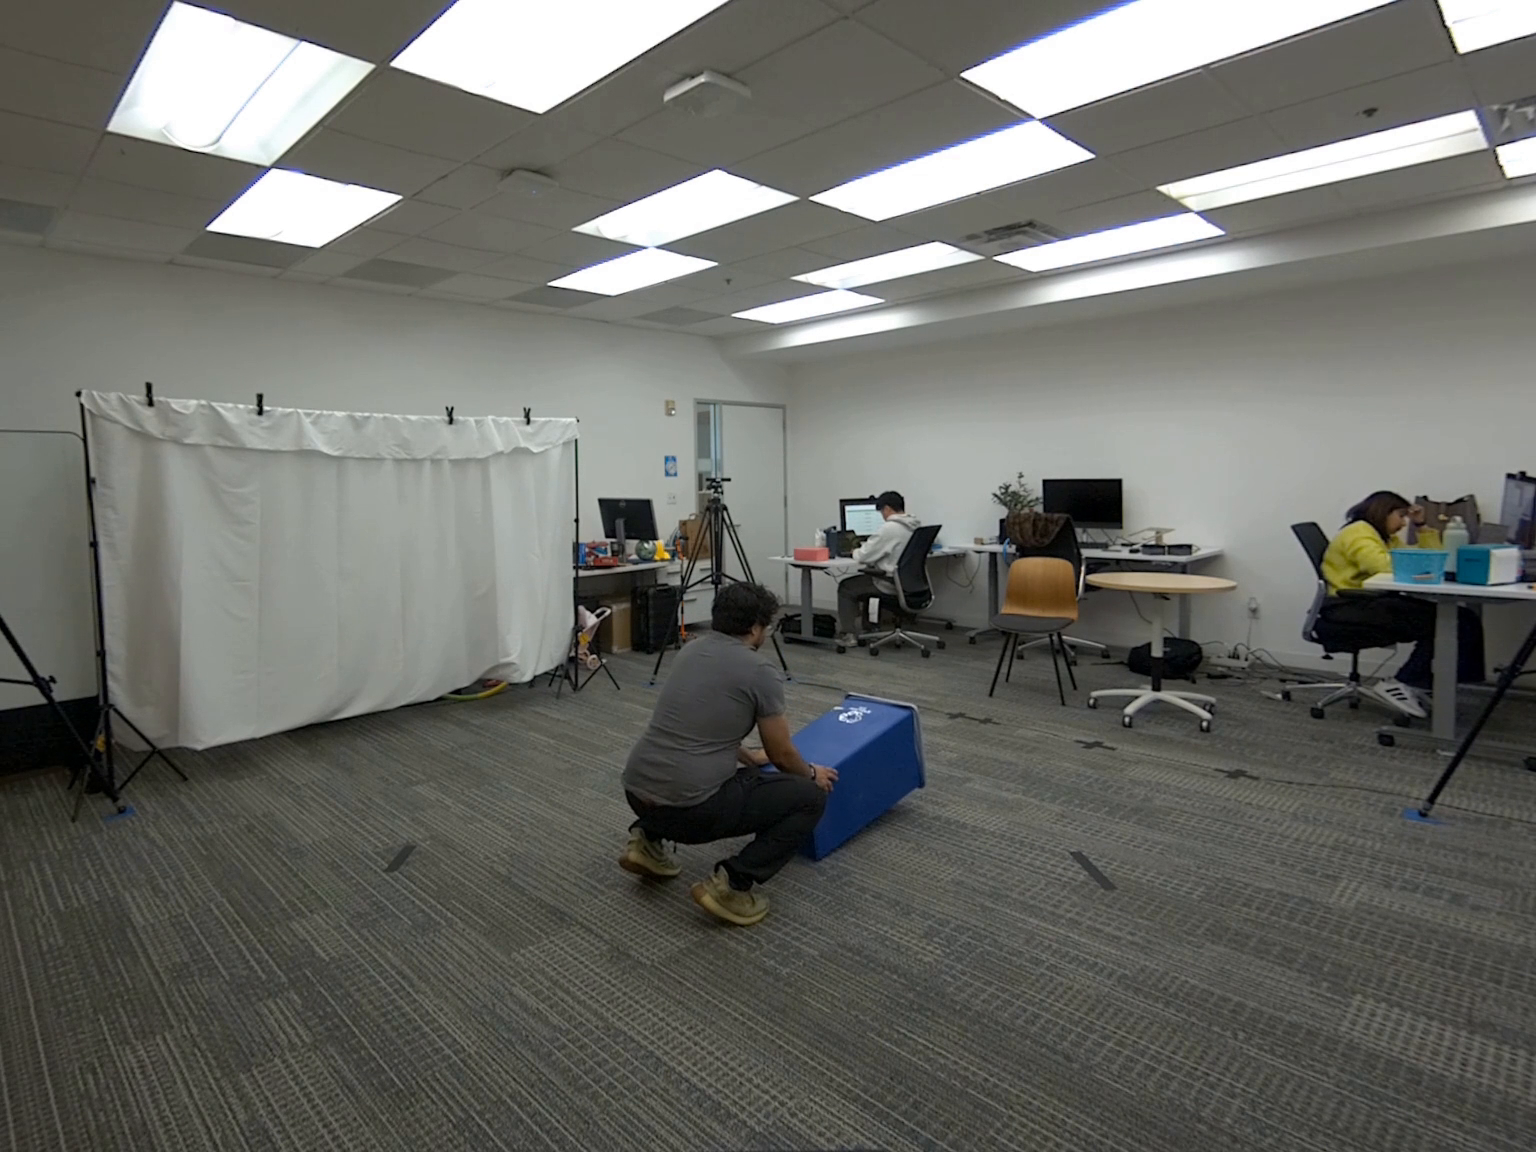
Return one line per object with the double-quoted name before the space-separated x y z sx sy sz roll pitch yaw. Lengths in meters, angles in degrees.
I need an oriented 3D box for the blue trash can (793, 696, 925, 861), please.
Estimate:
"blue trash can" 0.284 0.794 3.417 0.385 0.373 0.701 3 18 42
